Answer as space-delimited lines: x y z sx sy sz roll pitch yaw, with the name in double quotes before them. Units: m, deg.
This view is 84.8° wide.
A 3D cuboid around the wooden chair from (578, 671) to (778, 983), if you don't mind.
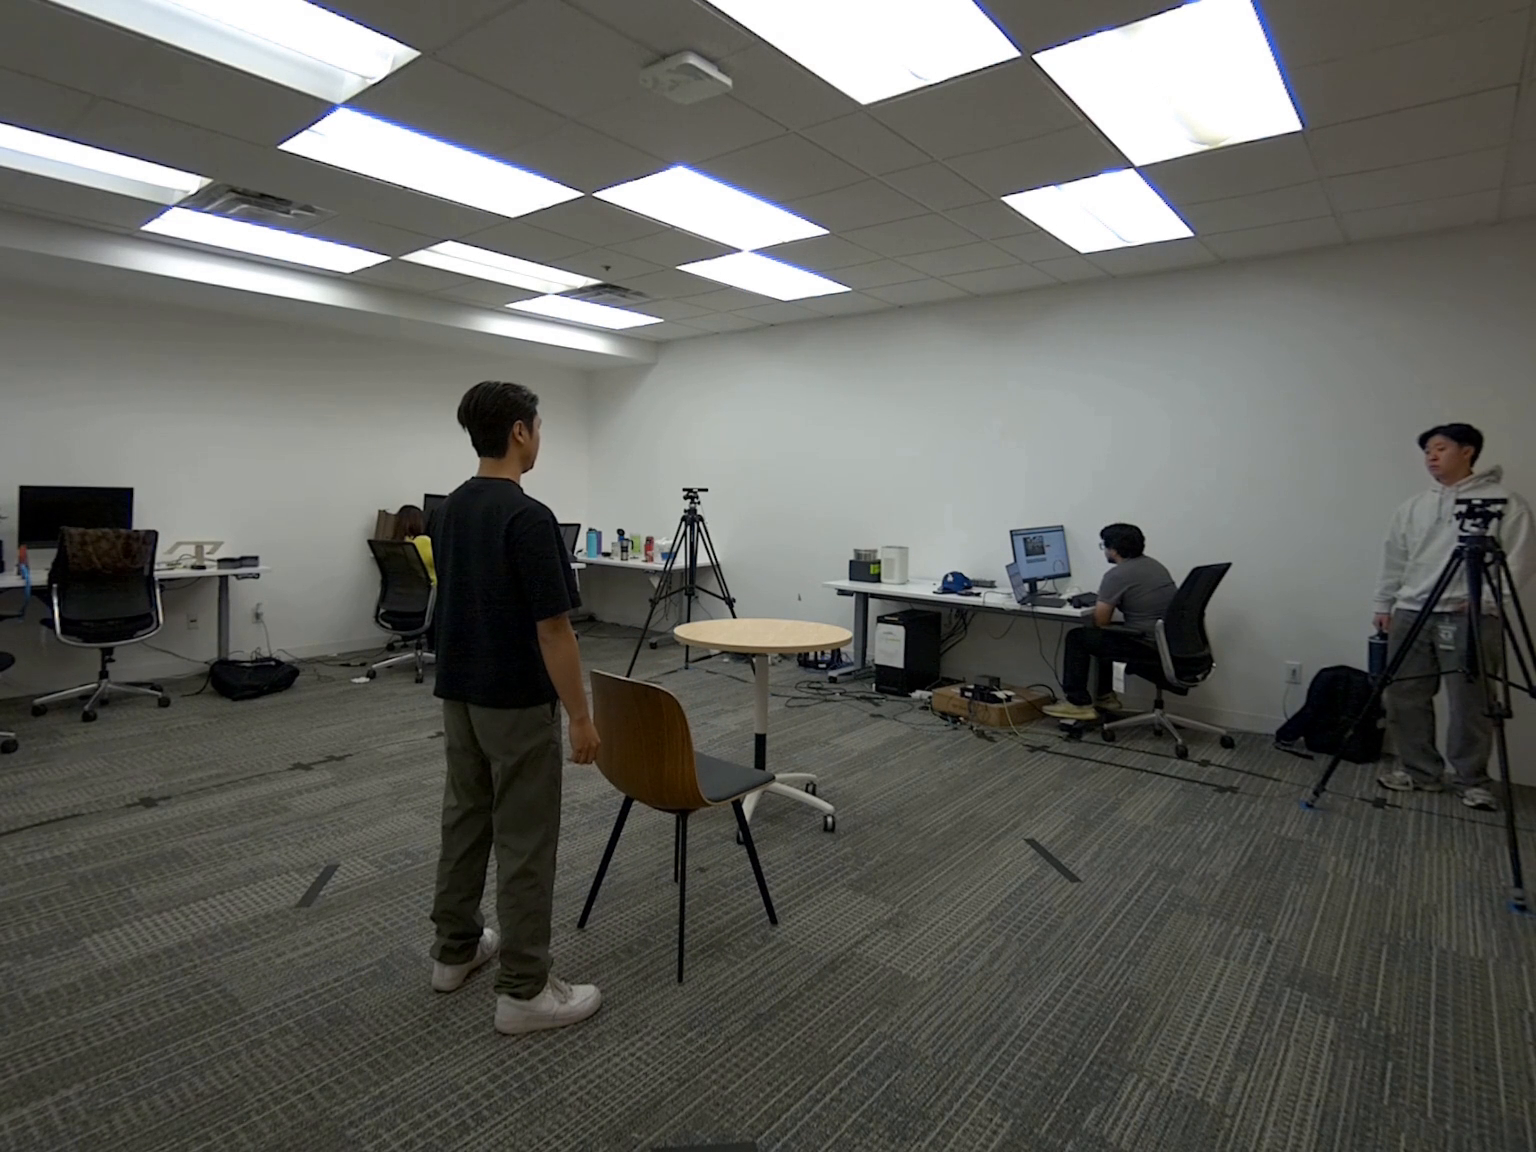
"wooden chair" -0.281 0.683 2.683 0.494 0.872 0.509 3 8 39
